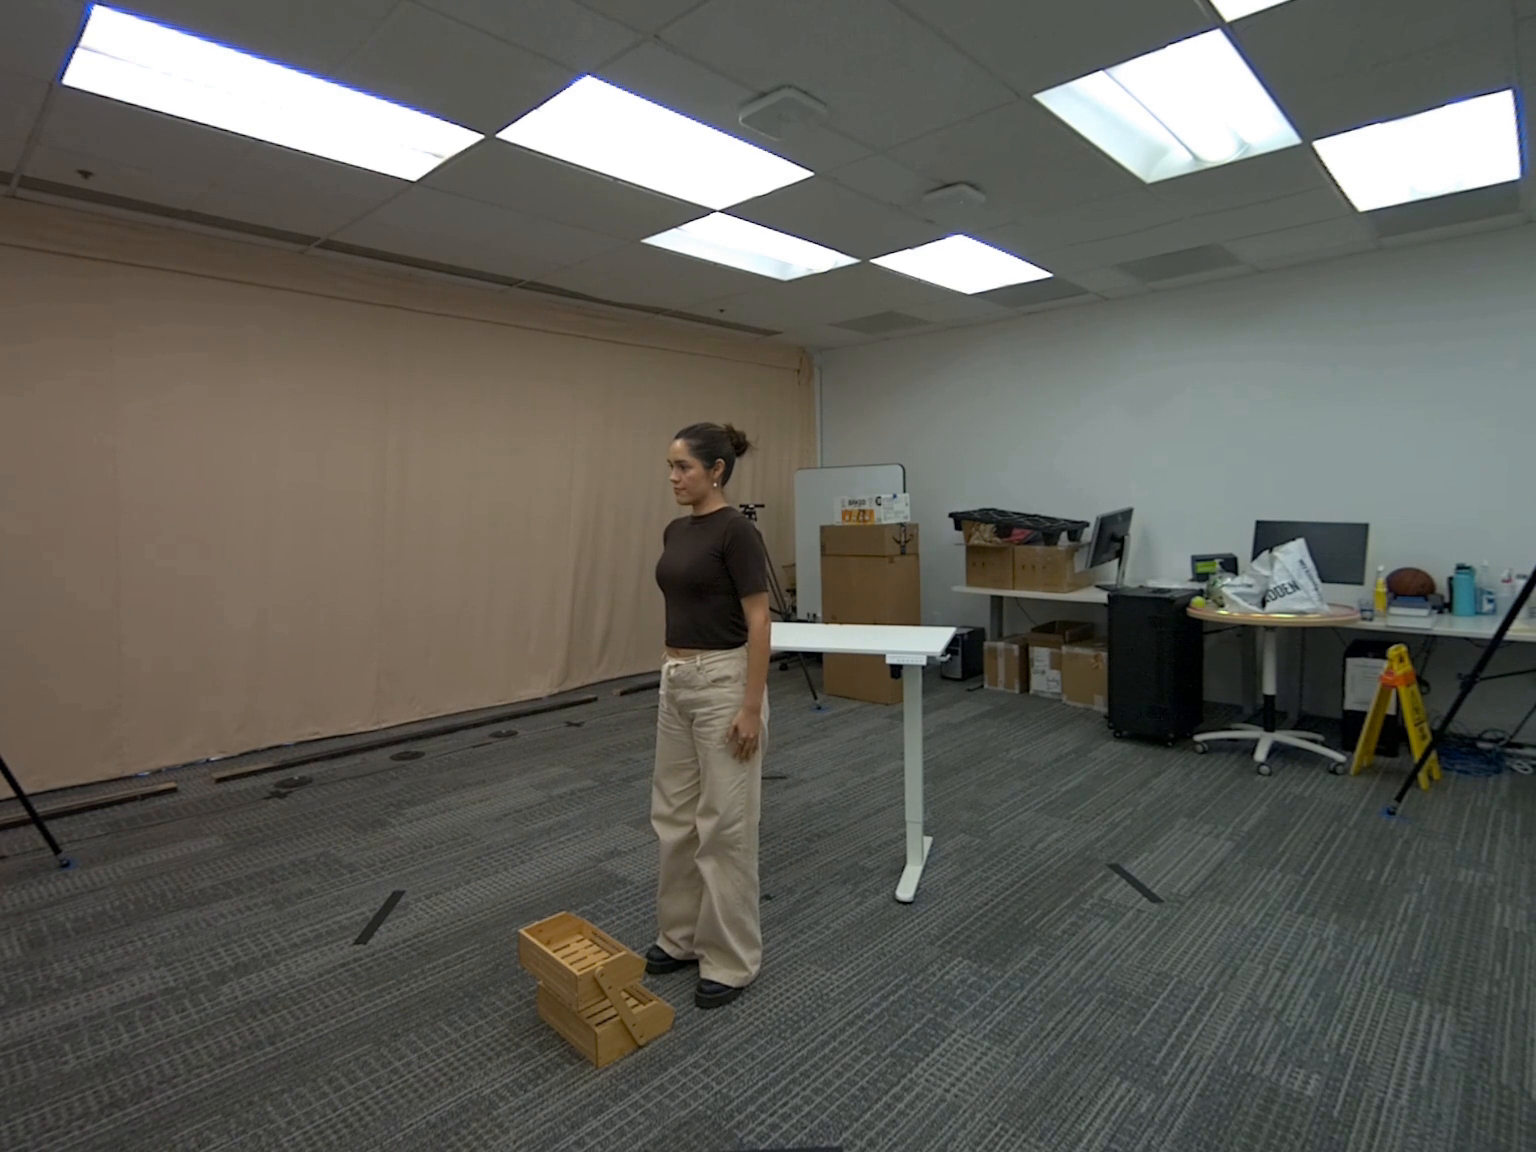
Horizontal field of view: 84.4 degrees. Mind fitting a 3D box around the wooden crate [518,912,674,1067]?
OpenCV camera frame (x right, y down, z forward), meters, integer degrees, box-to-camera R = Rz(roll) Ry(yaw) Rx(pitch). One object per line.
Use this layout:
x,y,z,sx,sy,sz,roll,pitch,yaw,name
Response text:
-0.459,1.076,2.258,0.293,0.272,0.335,-6,7,-43,wooden crate
